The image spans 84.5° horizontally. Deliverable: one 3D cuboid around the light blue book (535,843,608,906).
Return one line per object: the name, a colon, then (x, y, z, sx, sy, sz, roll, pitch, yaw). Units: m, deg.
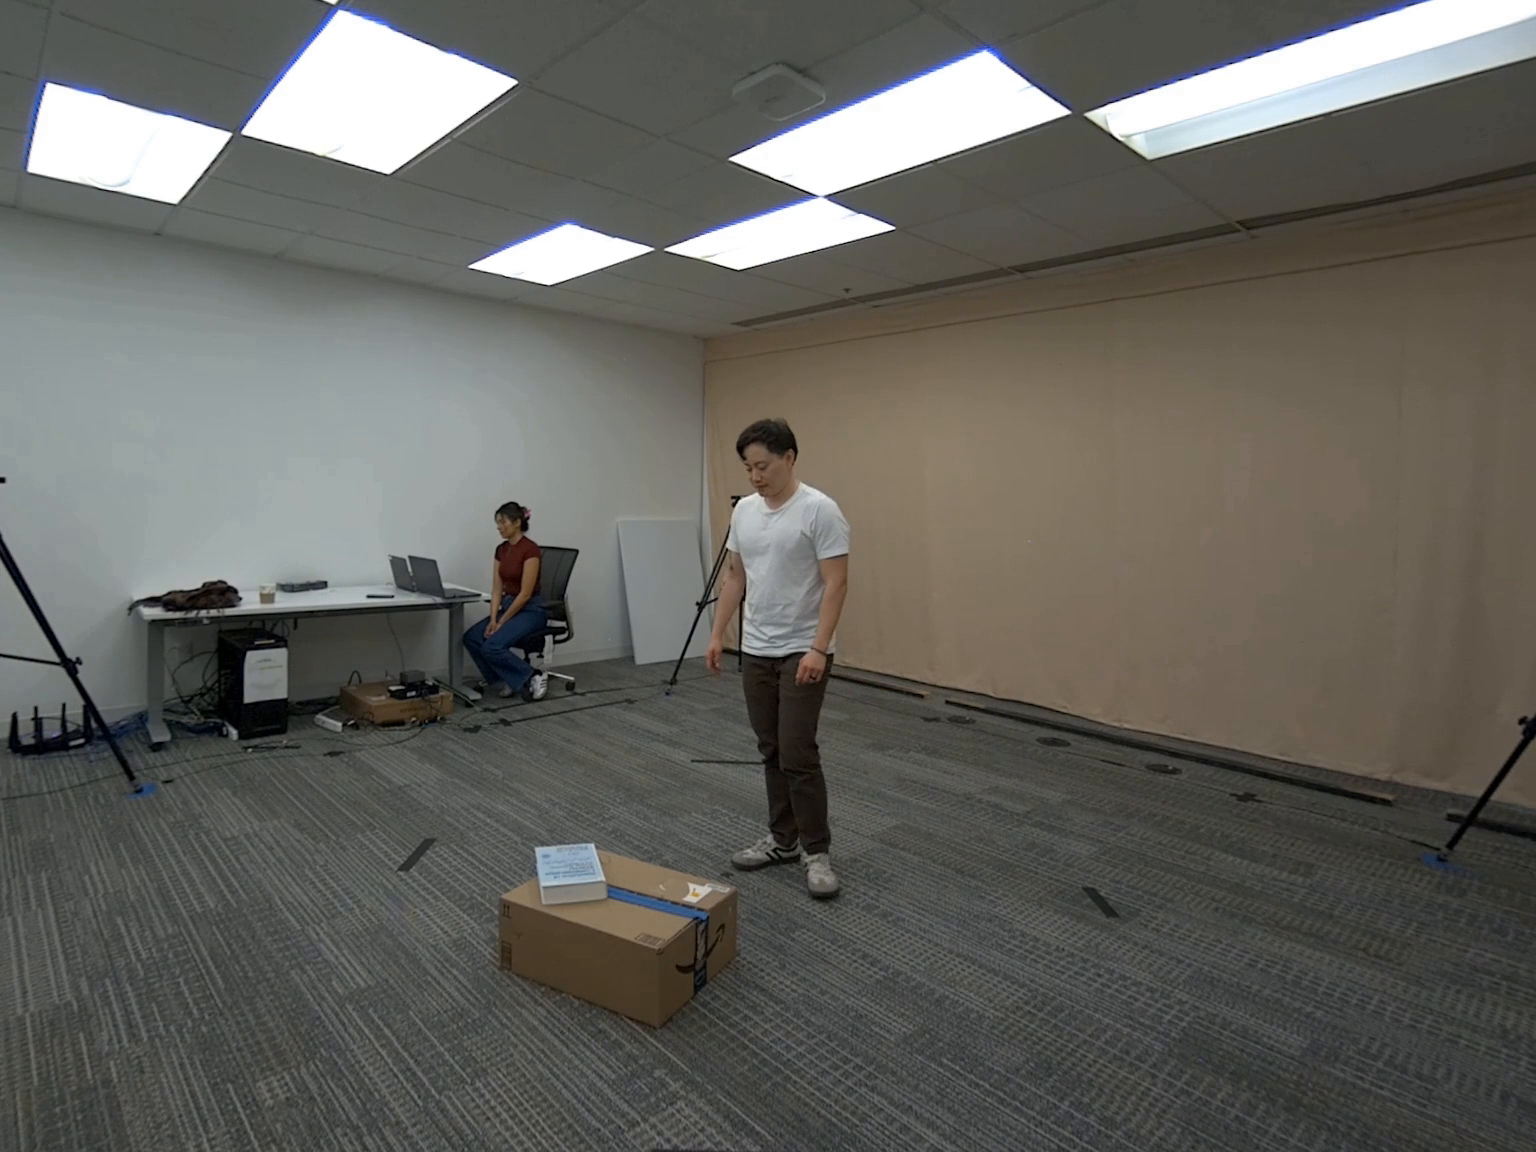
light blue book: (-0.610, 0.905, 2.552, 0.188, 0.059, 0.266, 0, 6, -19)
